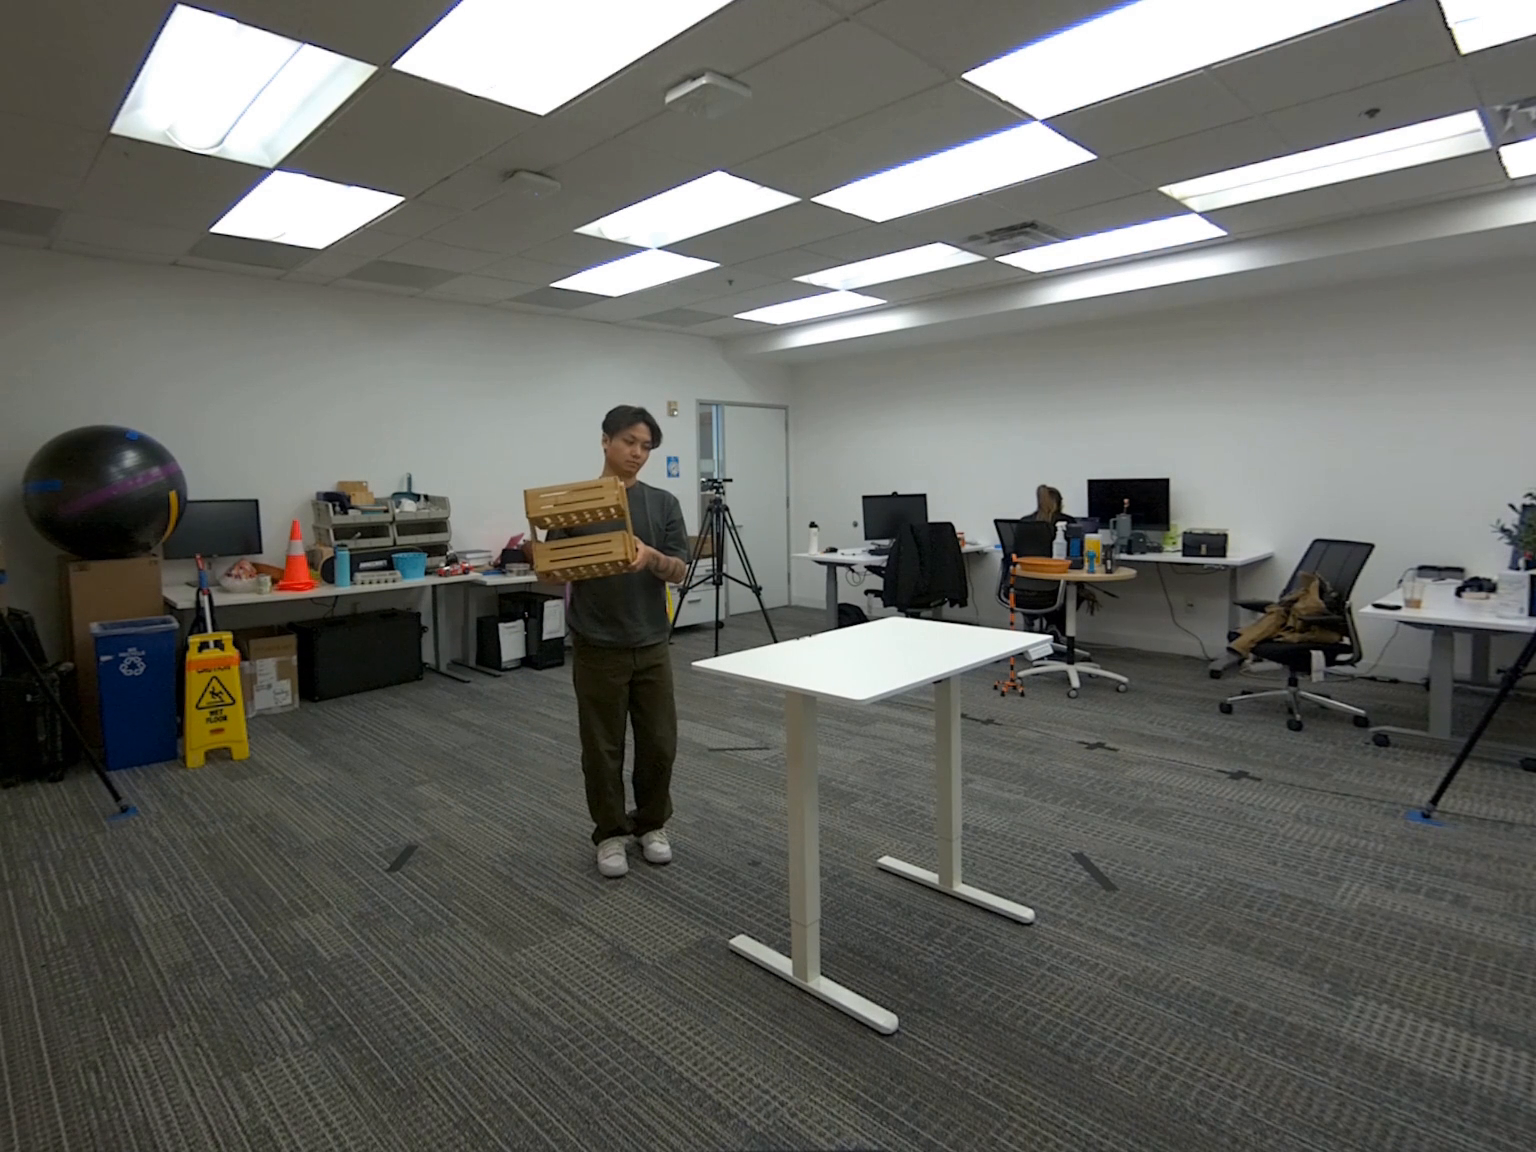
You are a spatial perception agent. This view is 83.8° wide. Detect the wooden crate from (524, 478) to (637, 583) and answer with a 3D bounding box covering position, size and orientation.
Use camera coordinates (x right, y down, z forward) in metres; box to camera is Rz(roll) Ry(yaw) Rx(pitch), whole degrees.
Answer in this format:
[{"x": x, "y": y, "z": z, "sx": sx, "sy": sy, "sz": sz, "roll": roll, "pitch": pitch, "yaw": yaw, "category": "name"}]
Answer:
[{"x": -0.623, "y": -0.152, "z": 2.839, "sx": 0.324, "sy": 0.276, "sz": 0.299, "roll": -8, "pitch": -10, "yaw": -1, "category": "wooden crate"}]
